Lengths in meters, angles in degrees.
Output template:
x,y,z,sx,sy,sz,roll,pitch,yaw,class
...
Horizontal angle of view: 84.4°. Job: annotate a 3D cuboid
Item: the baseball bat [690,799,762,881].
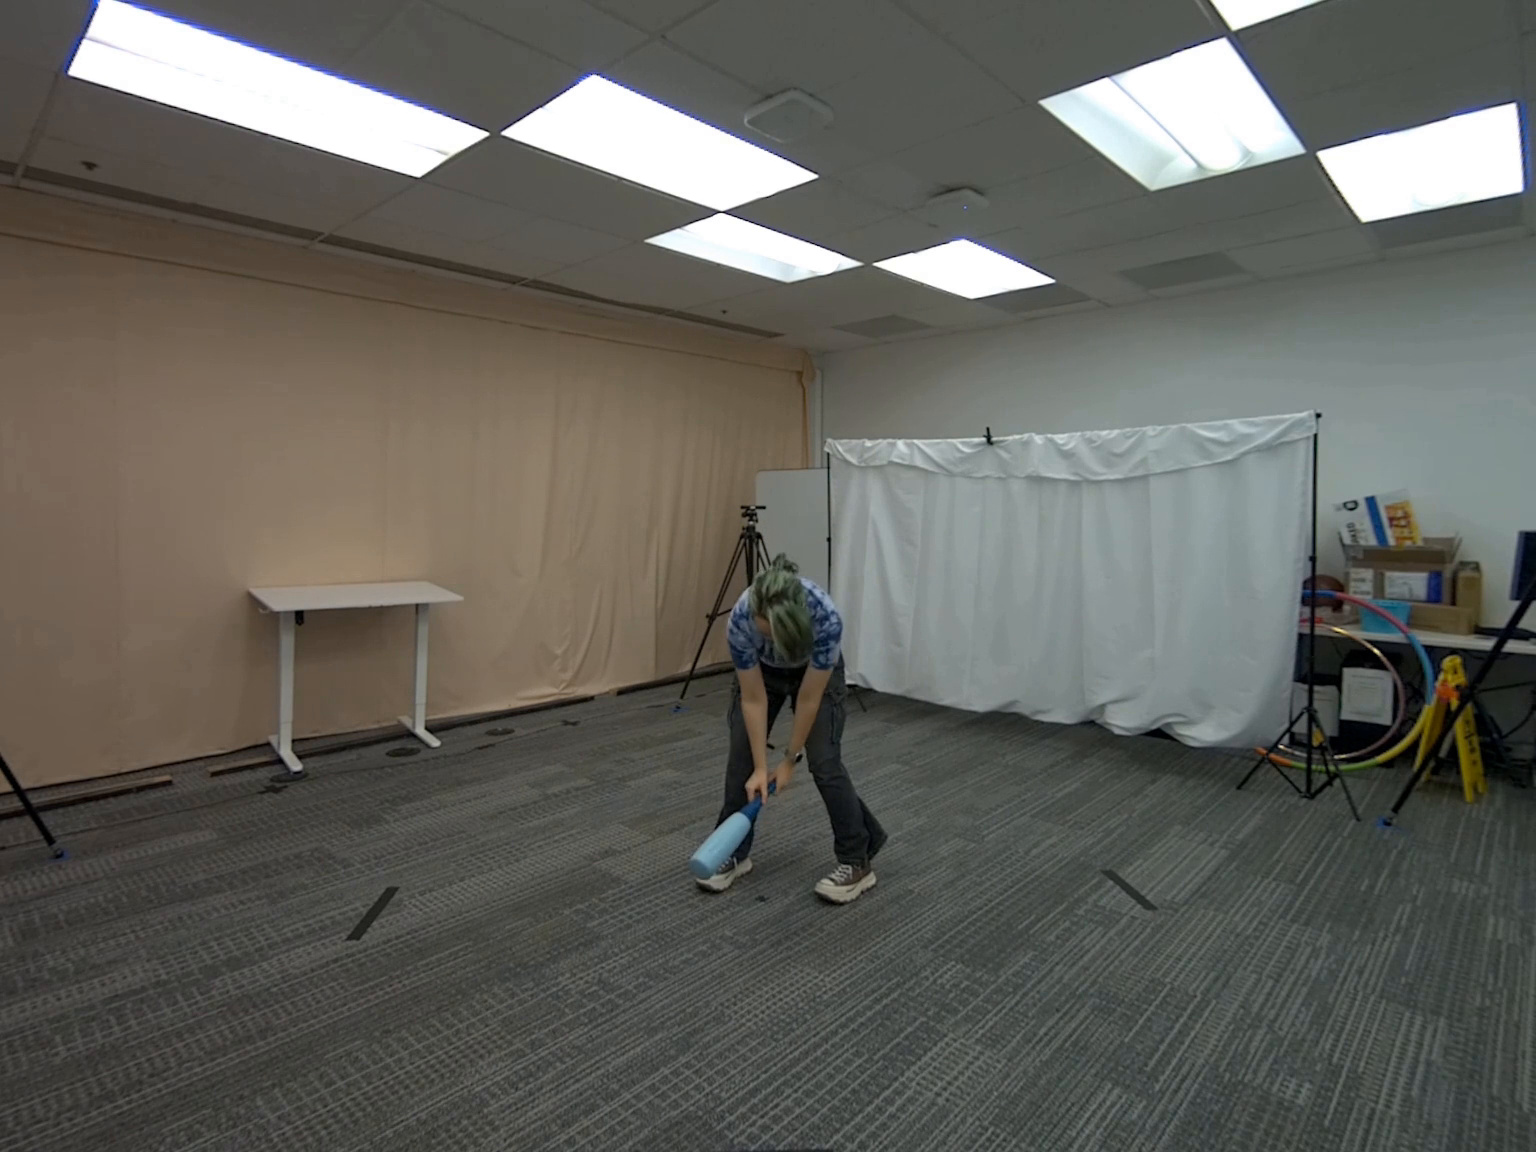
x,y,z,sx,sy,sz,roll,pitch,yaw,class
-0.071,0.803,2.768,0.092,0.088,0.534,2,24,33,baseball bat
